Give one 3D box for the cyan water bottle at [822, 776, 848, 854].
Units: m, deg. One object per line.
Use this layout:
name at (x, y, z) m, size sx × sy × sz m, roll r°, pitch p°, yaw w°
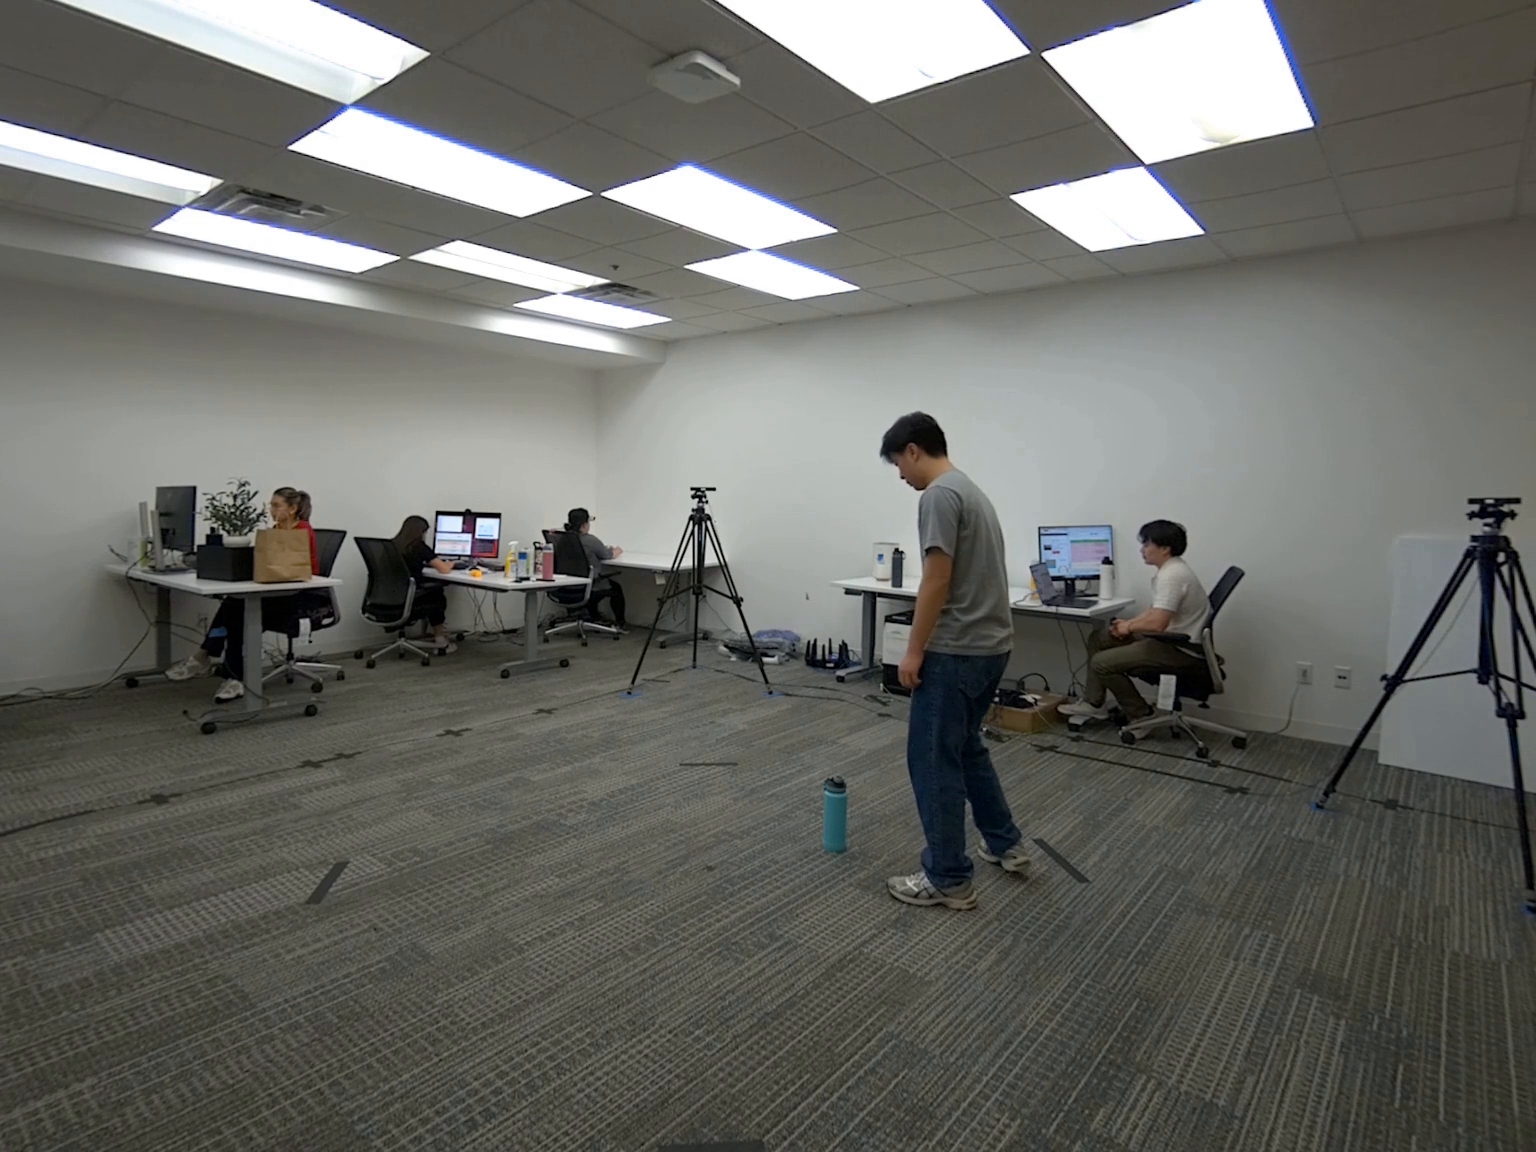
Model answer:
cyan water bottle at (0.253, 0.914, 3.312) m, size 0.092 × 0.283 × 0.093 m, roll 0°, pitch 3°, yaw -2°
